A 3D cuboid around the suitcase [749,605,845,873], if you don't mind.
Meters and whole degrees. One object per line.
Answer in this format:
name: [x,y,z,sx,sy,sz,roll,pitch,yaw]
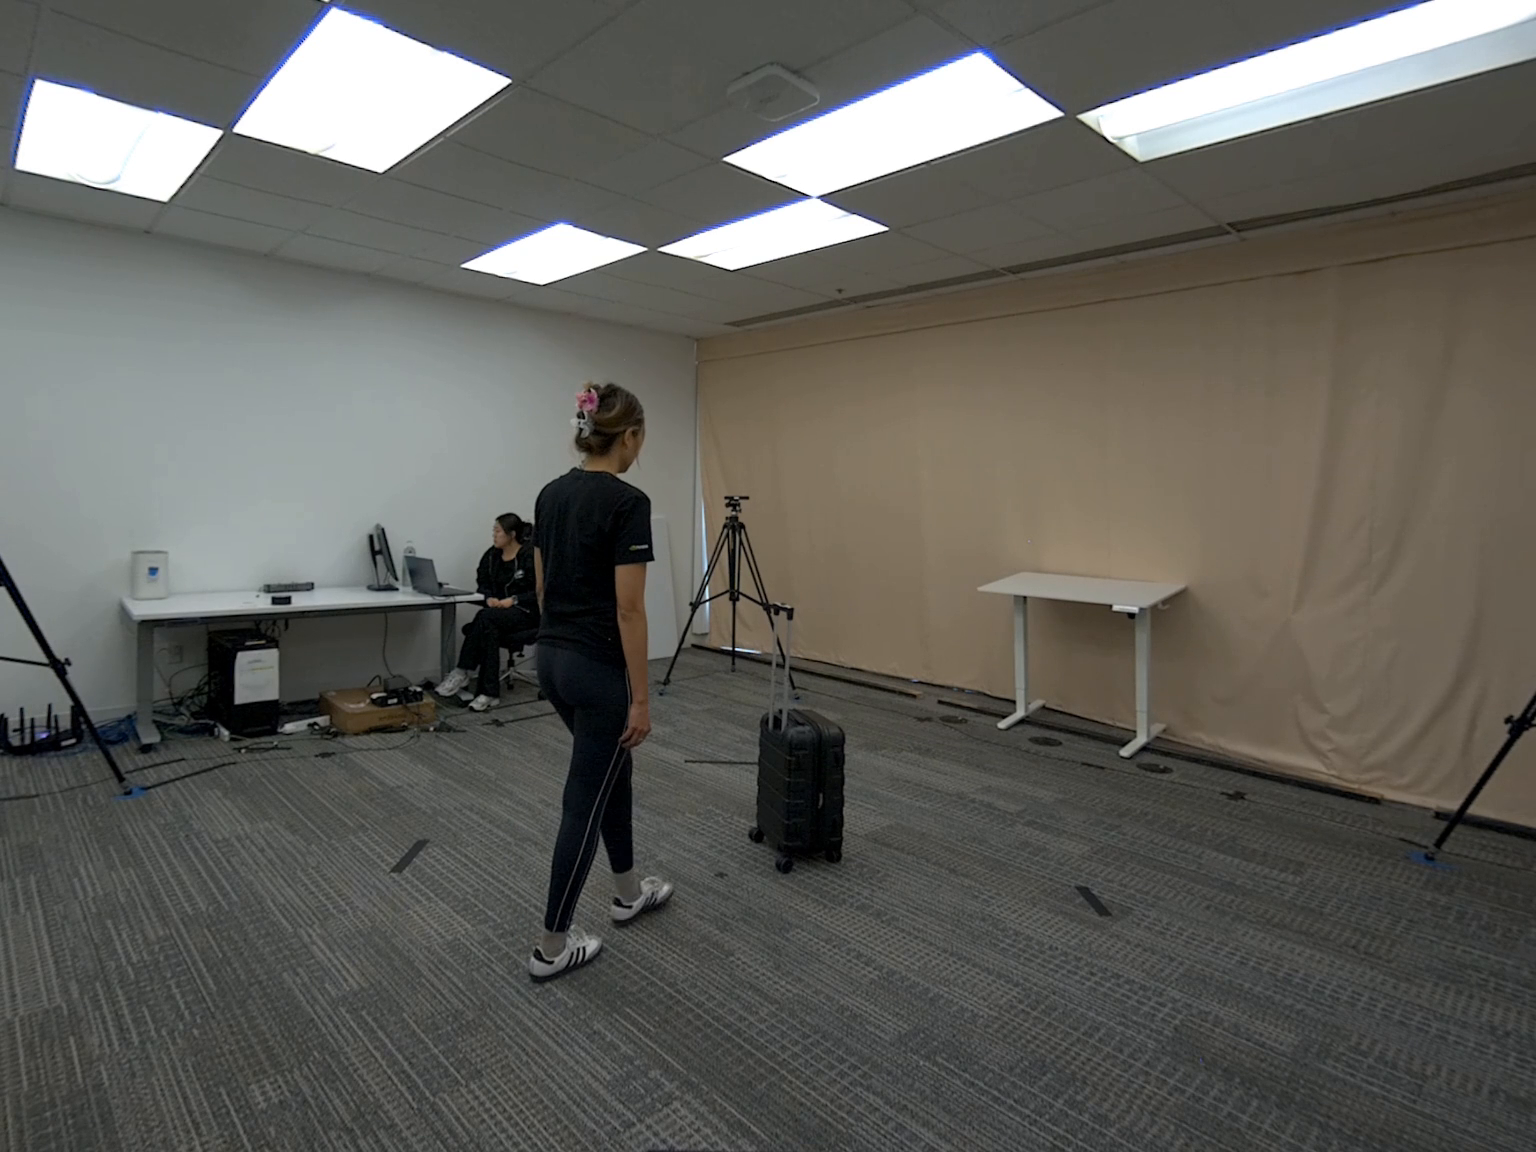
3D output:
suitcase: [0.134,0.611,3.312,0.253,0.977,0.390,3,2,-18]
